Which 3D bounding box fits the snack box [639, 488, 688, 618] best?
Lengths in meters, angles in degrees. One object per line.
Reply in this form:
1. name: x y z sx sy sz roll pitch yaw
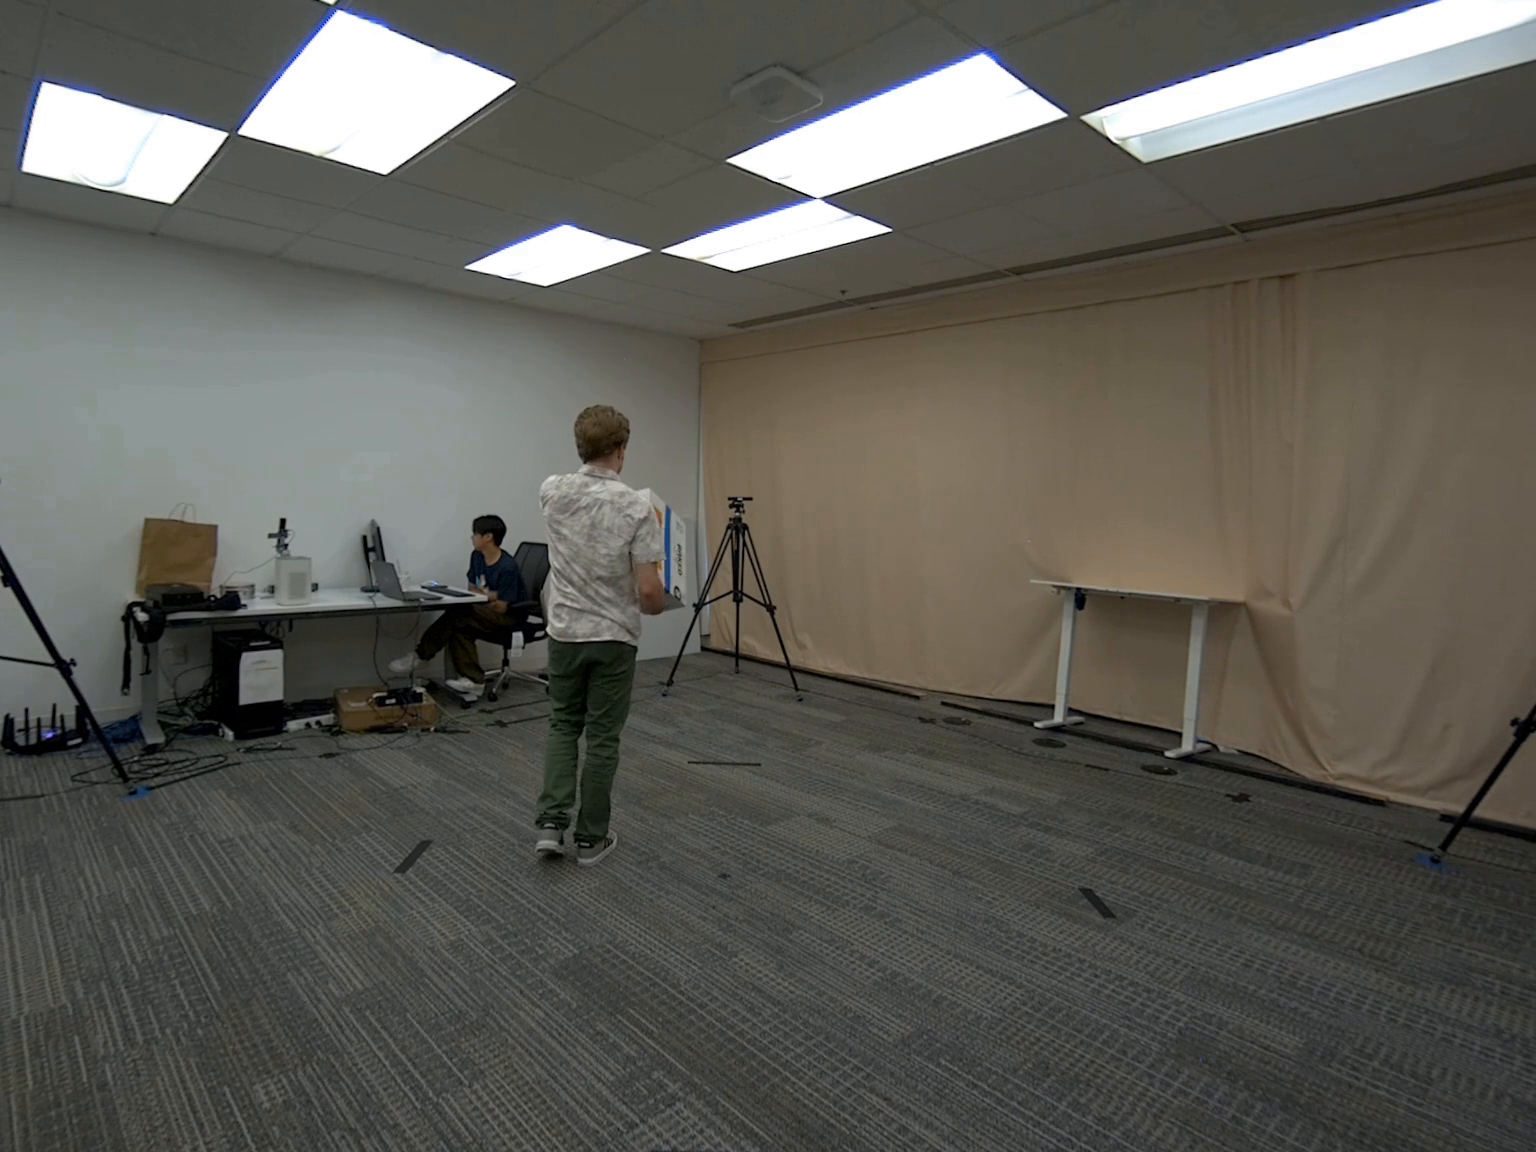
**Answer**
1. snack box: -0.507 -0.092 3.556 0.208 0.413 0.330 -13 -29 18
